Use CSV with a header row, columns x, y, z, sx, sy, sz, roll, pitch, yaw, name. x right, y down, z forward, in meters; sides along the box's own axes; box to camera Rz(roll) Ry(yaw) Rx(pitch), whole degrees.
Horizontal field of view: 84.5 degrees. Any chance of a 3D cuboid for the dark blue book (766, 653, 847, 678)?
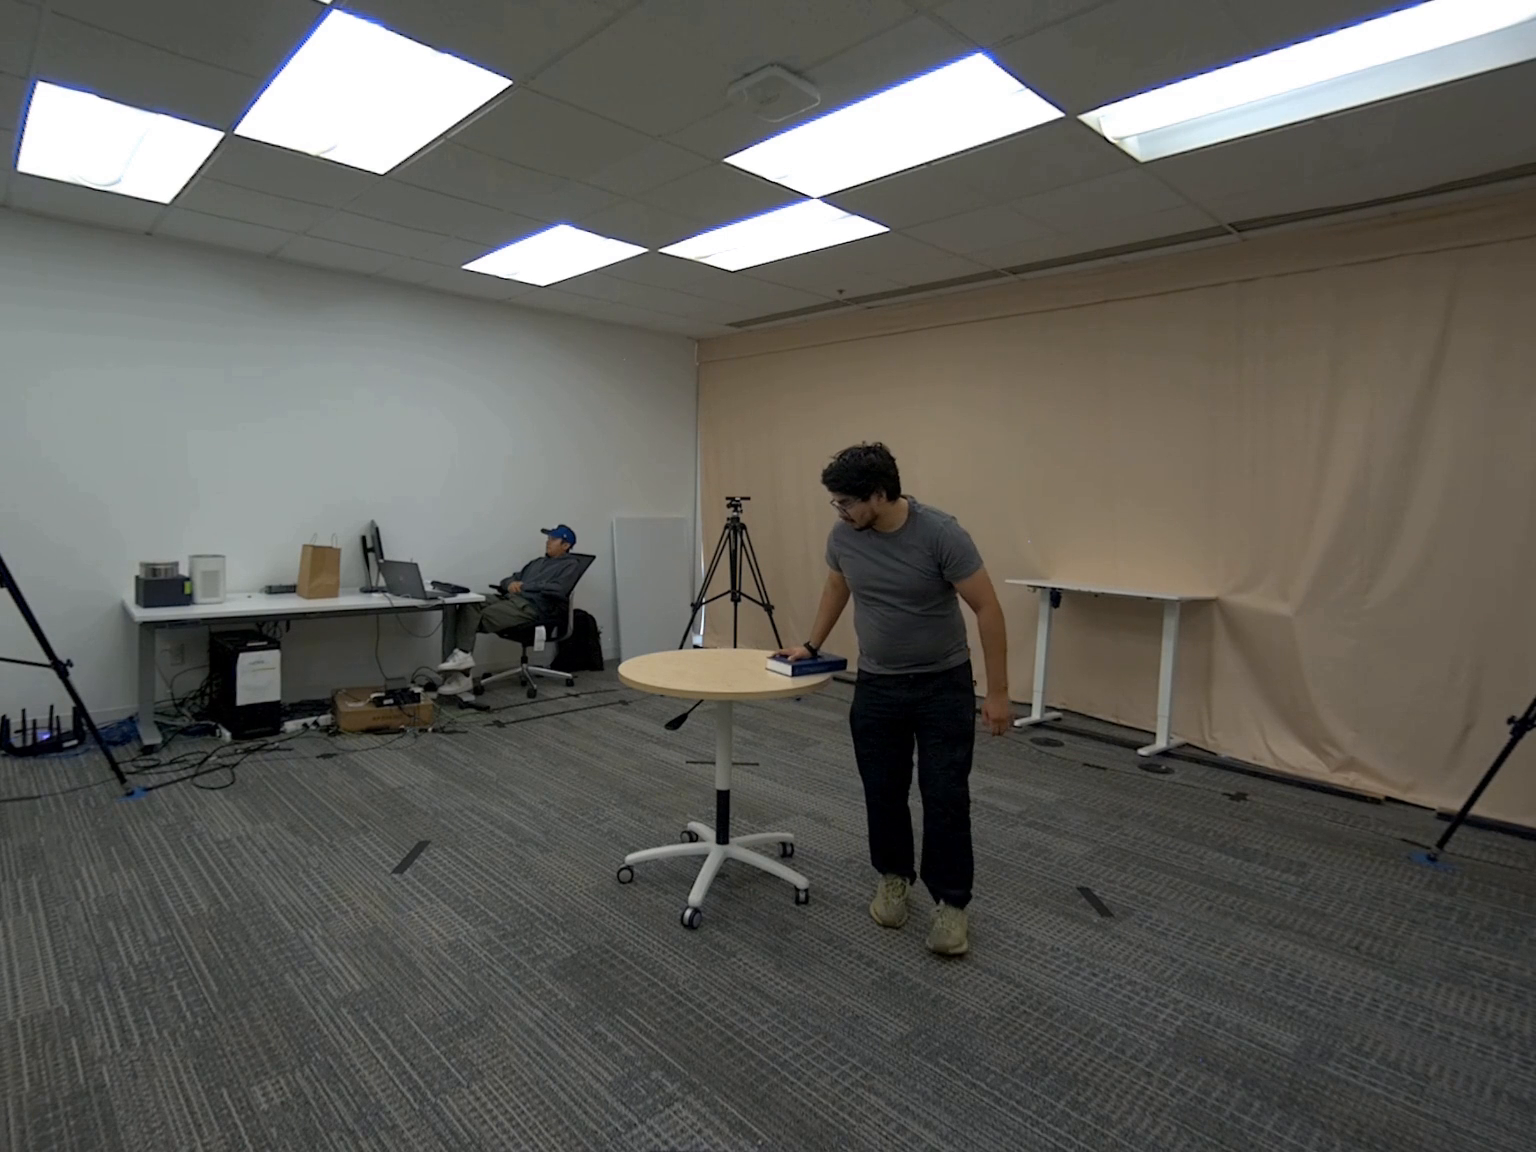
x,y,z,sx,sy,sz,roll,pitch,yaw,name
0.130,0.315,3.009,0.240,0.045,0.167,-4,7,-29,dark blue book
